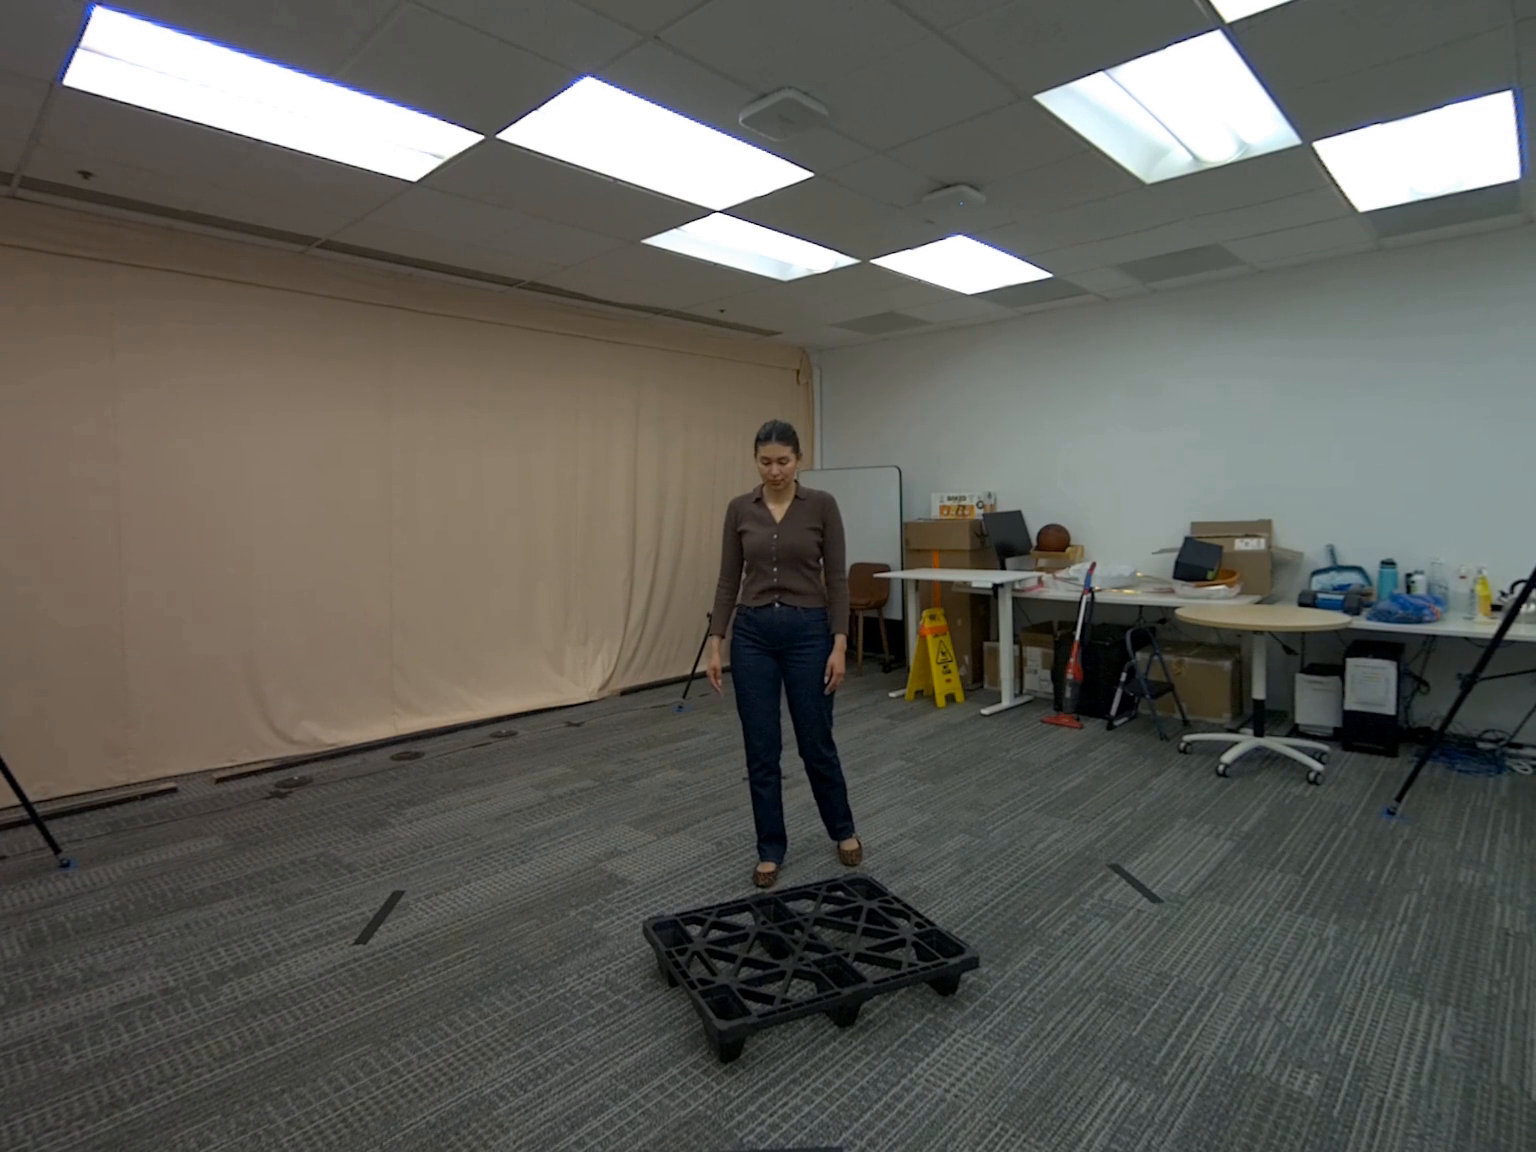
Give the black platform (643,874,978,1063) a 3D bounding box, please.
[{"bbox_3d":[0.104,1.116,2.454,0.787,0.143,0.621,-3,5,-25],"label":"black platform"}]
